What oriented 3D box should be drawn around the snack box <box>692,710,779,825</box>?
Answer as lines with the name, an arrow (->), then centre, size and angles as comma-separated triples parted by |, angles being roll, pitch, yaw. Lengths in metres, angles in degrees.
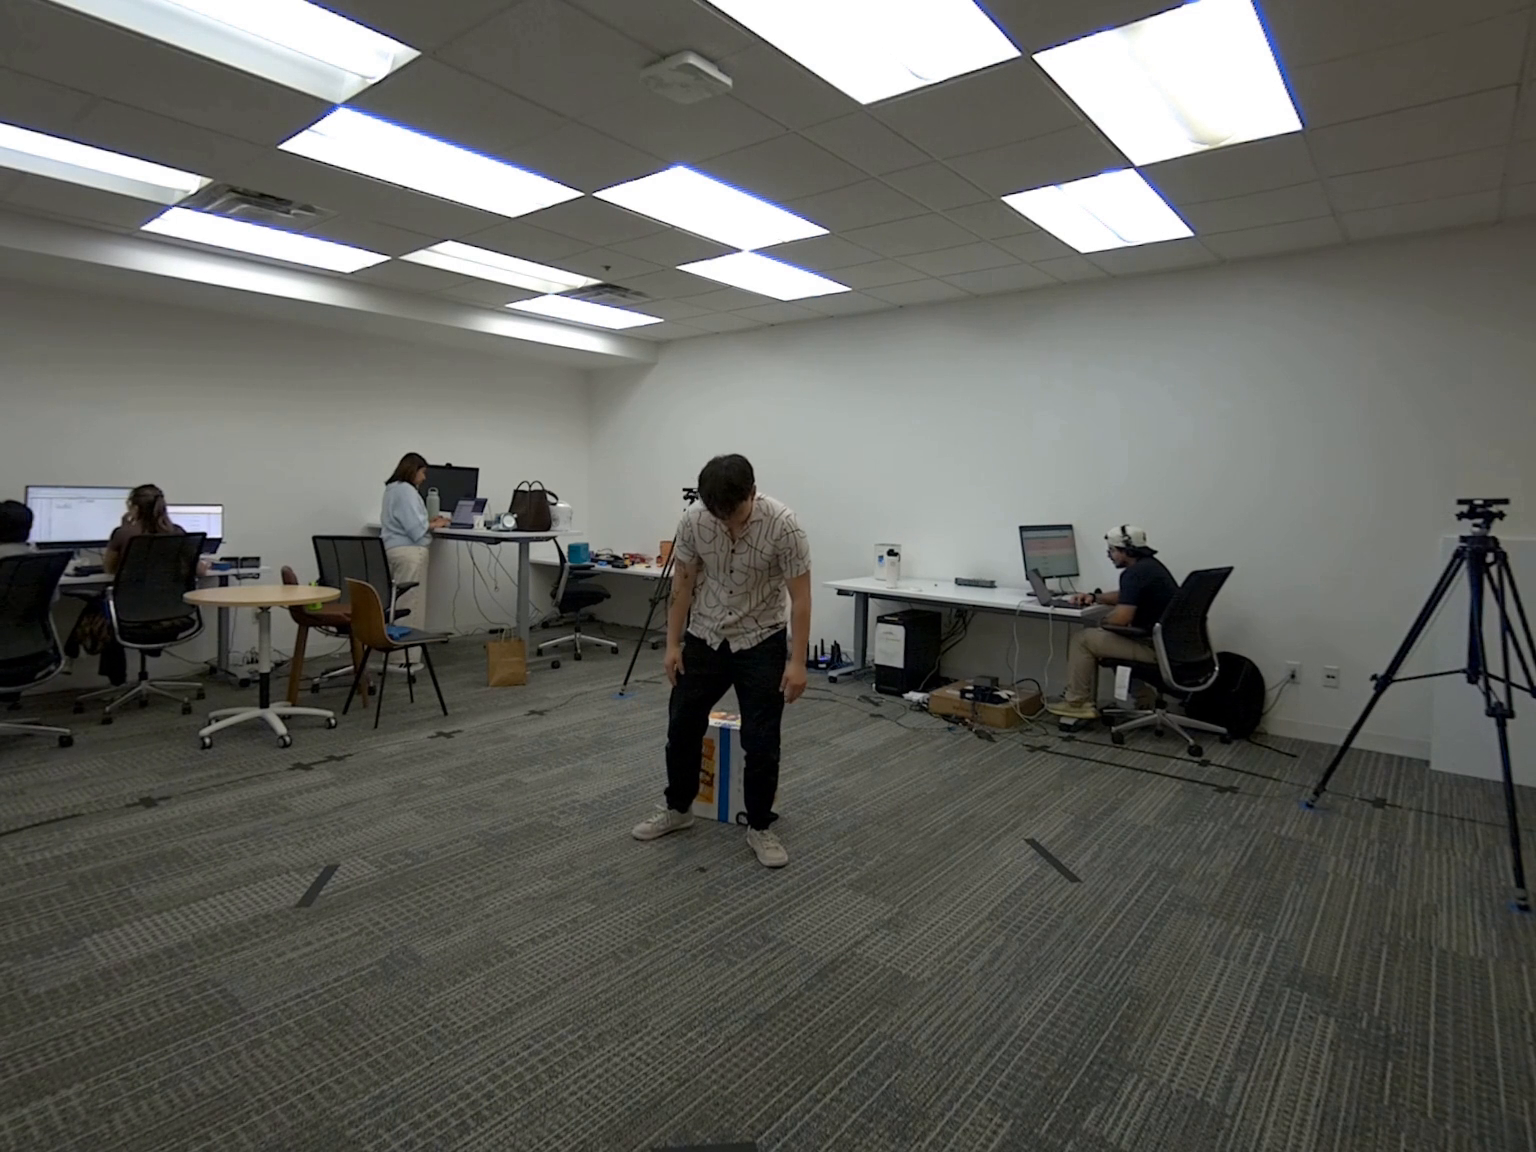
snack box -> -0.155, 0.814, 3.633 | 0.348, 0.404, 0.201 | 3, 4, 22
